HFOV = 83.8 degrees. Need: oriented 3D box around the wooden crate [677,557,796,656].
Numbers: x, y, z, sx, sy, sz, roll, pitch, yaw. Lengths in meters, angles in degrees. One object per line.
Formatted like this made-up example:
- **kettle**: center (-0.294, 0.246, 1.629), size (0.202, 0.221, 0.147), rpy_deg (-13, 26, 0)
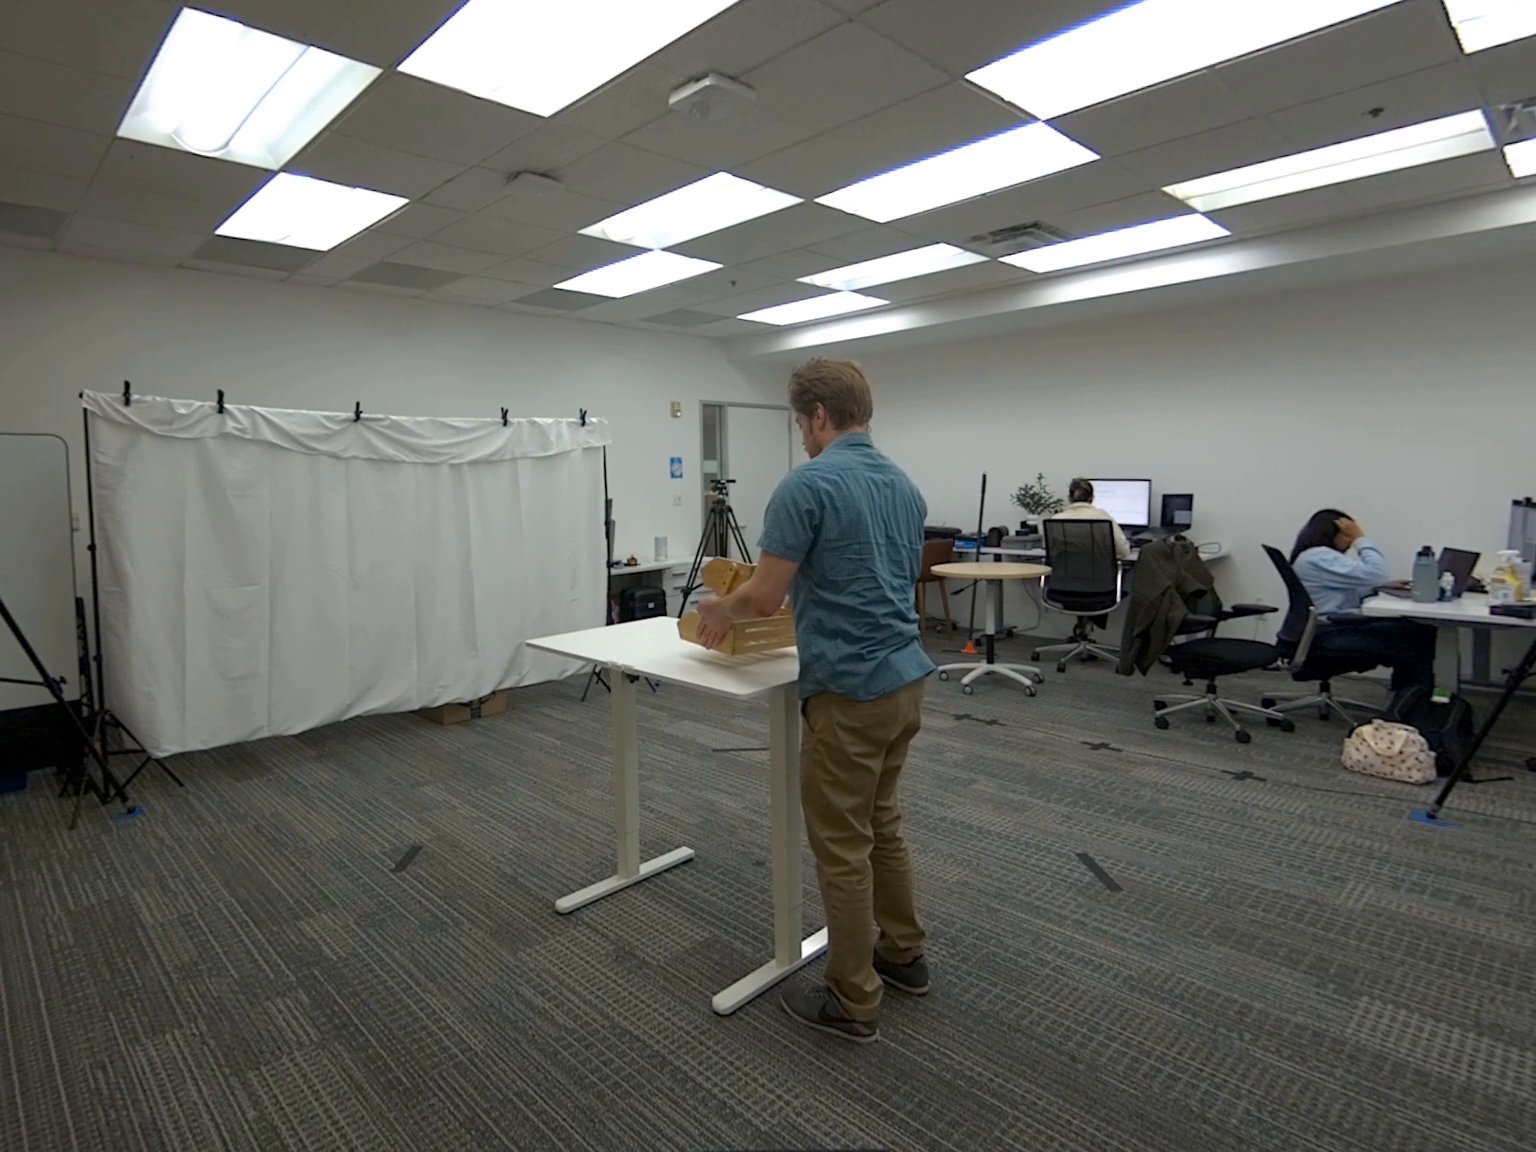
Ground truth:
- **wooden crate**: center (-0.044, 0.065, 2.484), size (0.315, 0.272, 0.312), rpy_deg (-3, 10, -43)
